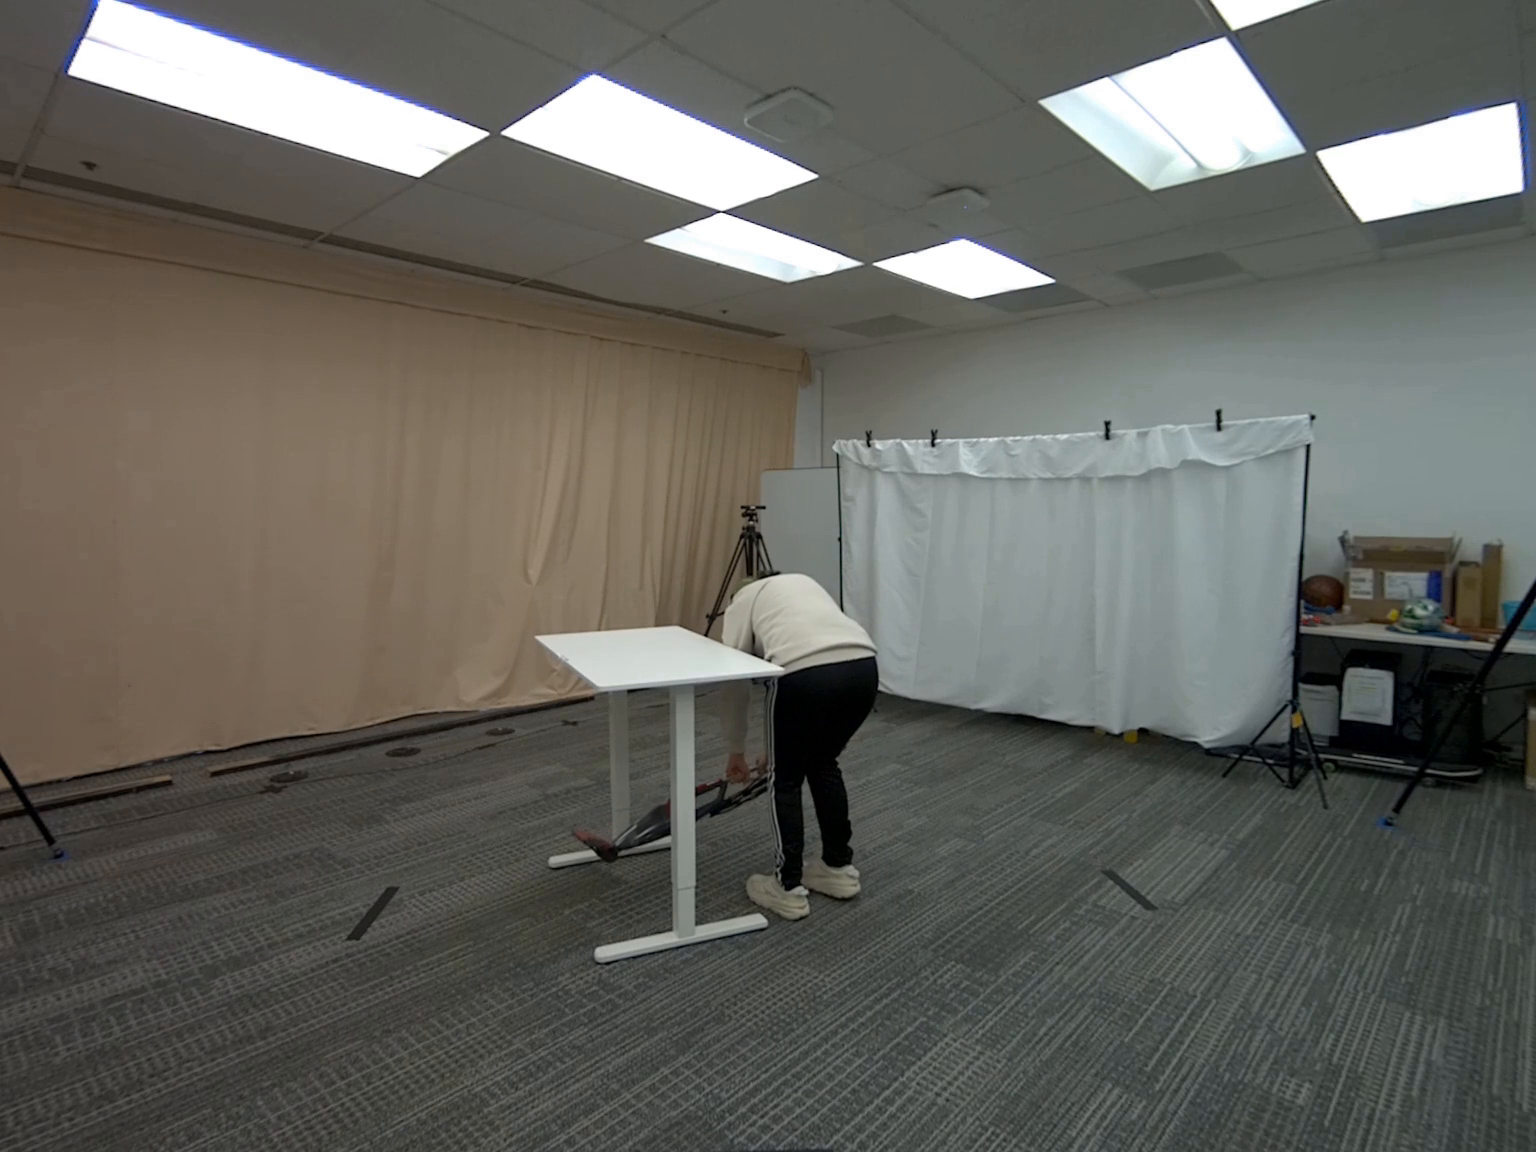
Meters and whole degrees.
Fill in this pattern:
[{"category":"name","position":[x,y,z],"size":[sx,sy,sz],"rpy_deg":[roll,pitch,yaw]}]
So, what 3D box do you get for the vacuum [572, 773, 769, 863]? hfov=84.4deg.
[{"category":"vacuum","position":[-0.151,0.811,3.142],"size":[1.031,0.145,0.255],"rpy_deg":[-16,-6,-22]}]
